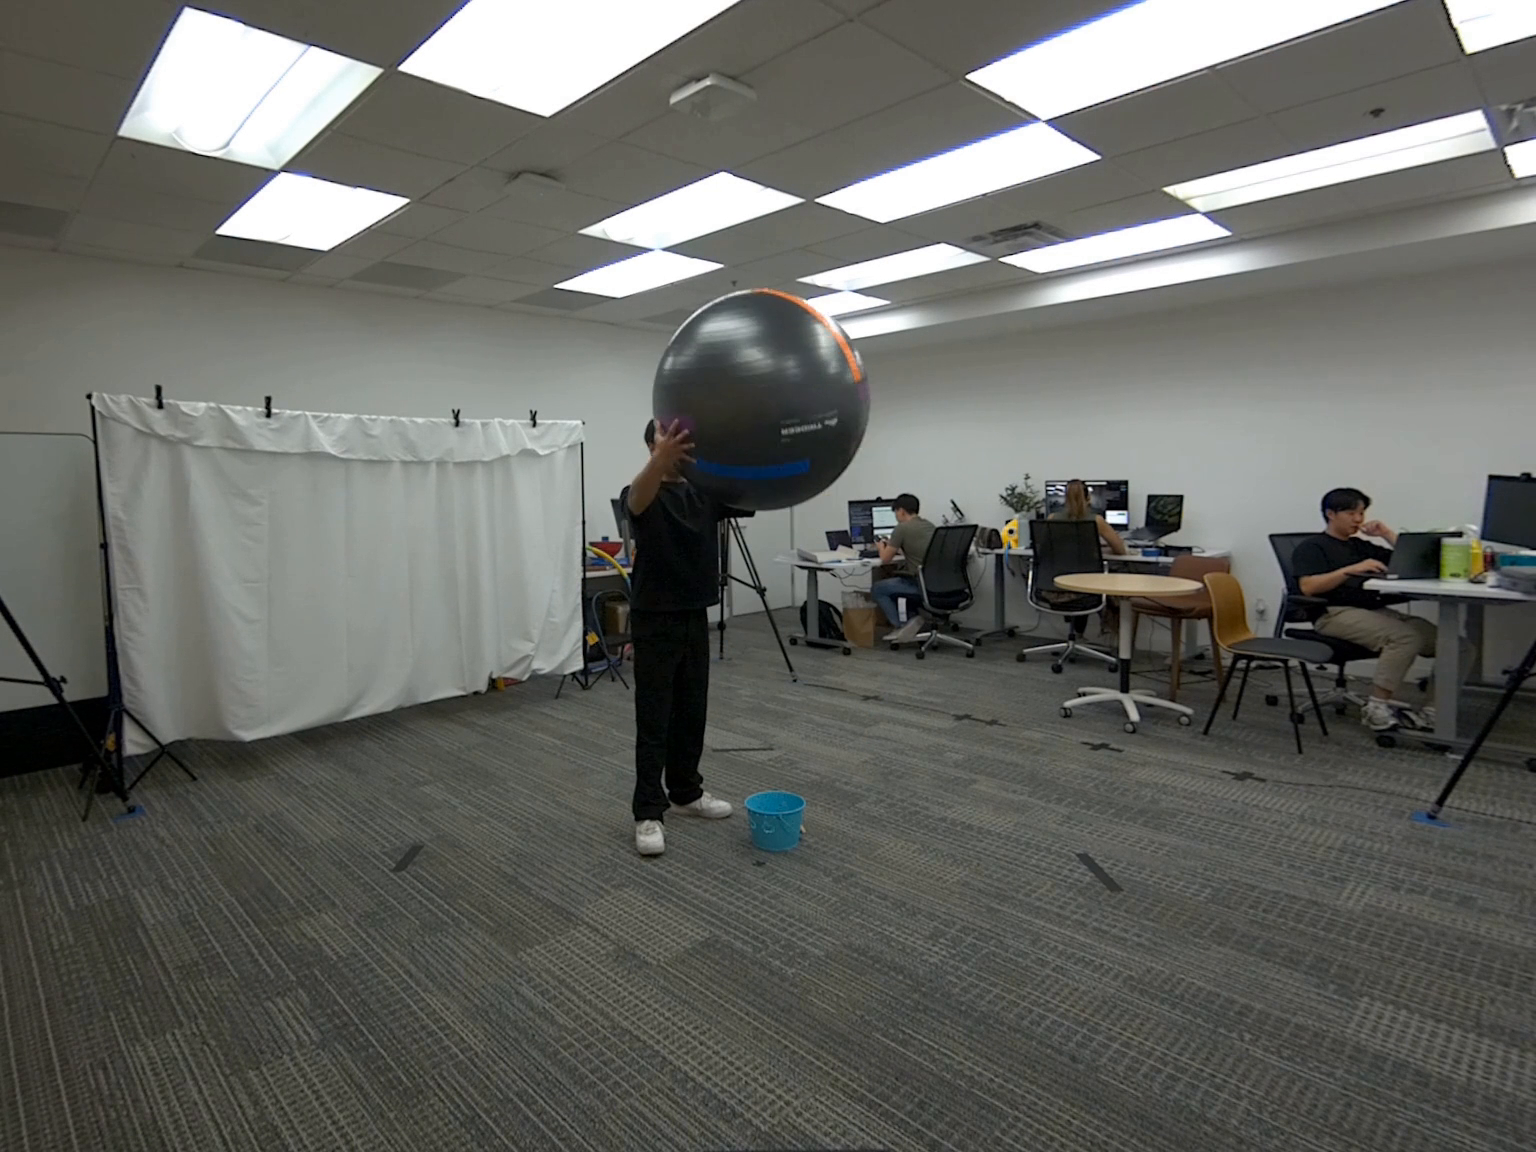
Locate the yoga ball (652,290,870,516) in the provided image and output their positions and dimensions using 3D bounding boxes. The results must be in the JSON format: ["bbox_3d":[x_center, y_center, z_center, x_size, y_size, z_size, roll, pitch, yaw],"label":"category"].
[{"bbox_3d":[-0.027,-0.600,2.998,0.757,0.755,0.762,-1,5,-2],"label":"yoga ball"}]
